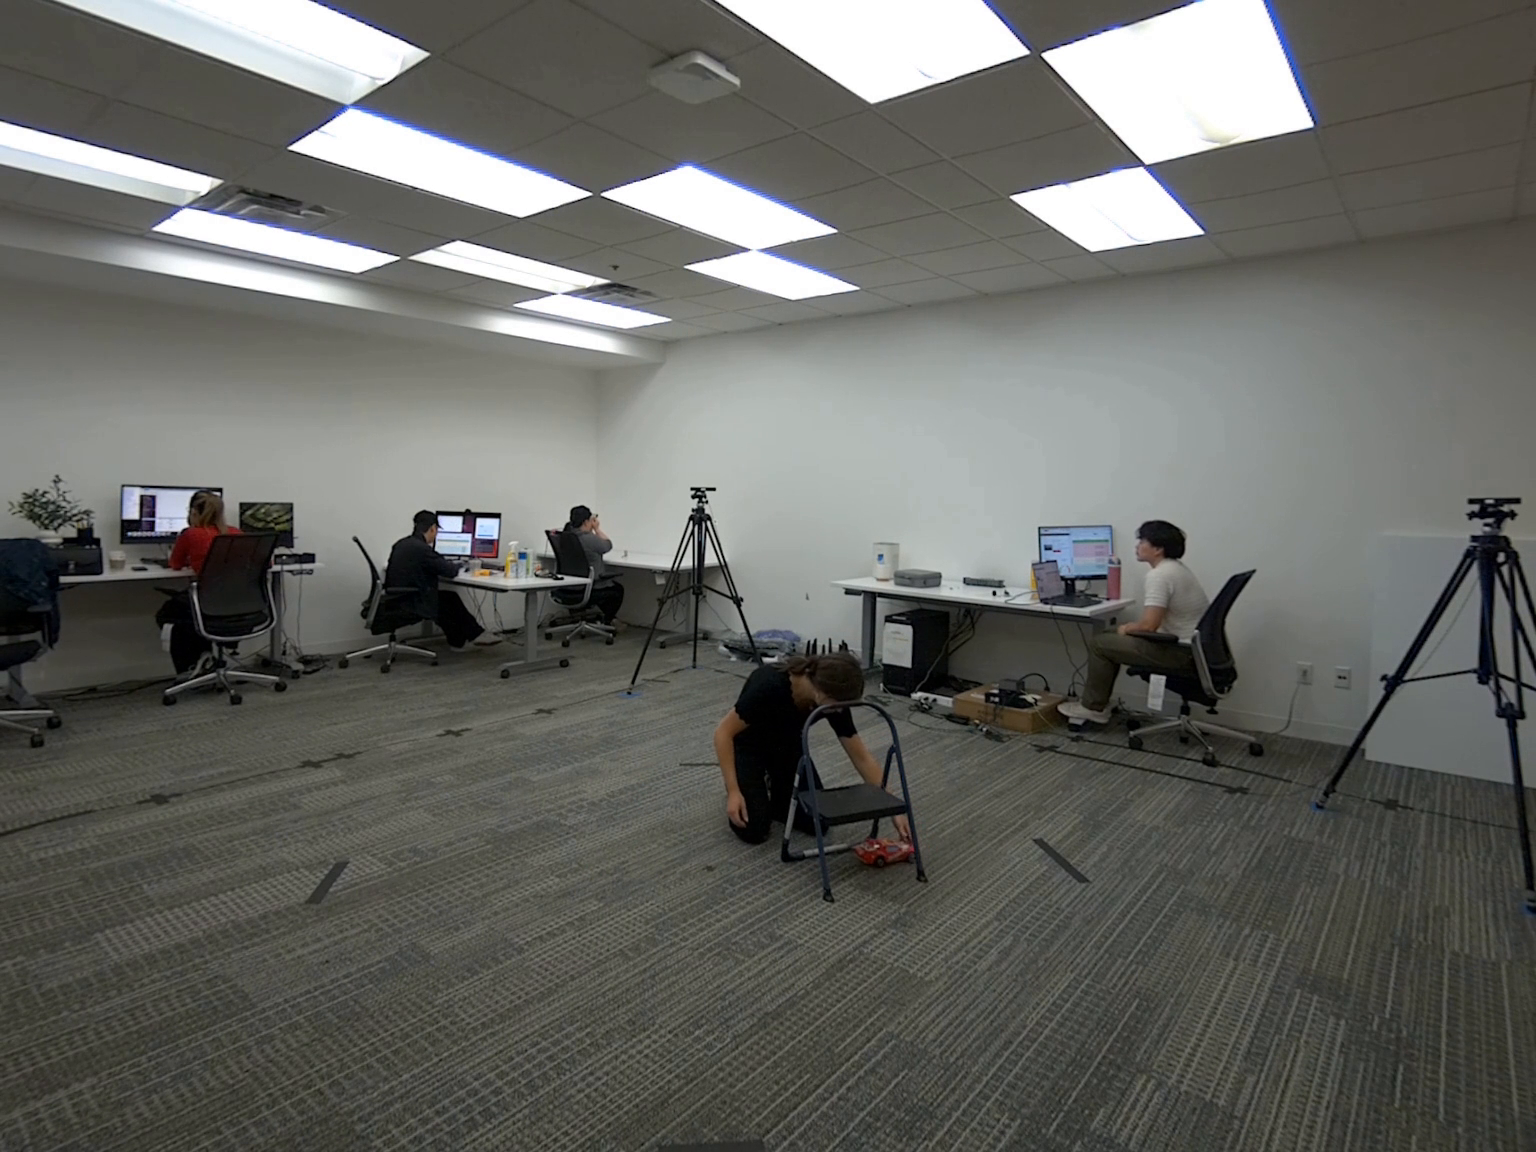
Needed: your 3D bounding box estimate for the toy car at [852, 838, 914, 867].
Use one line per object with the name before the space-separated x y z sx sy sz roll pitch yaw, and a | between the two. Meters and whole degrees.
toy car | 0.433 1.047 3.214 0.248 0.083 0.133 11 2 -22
